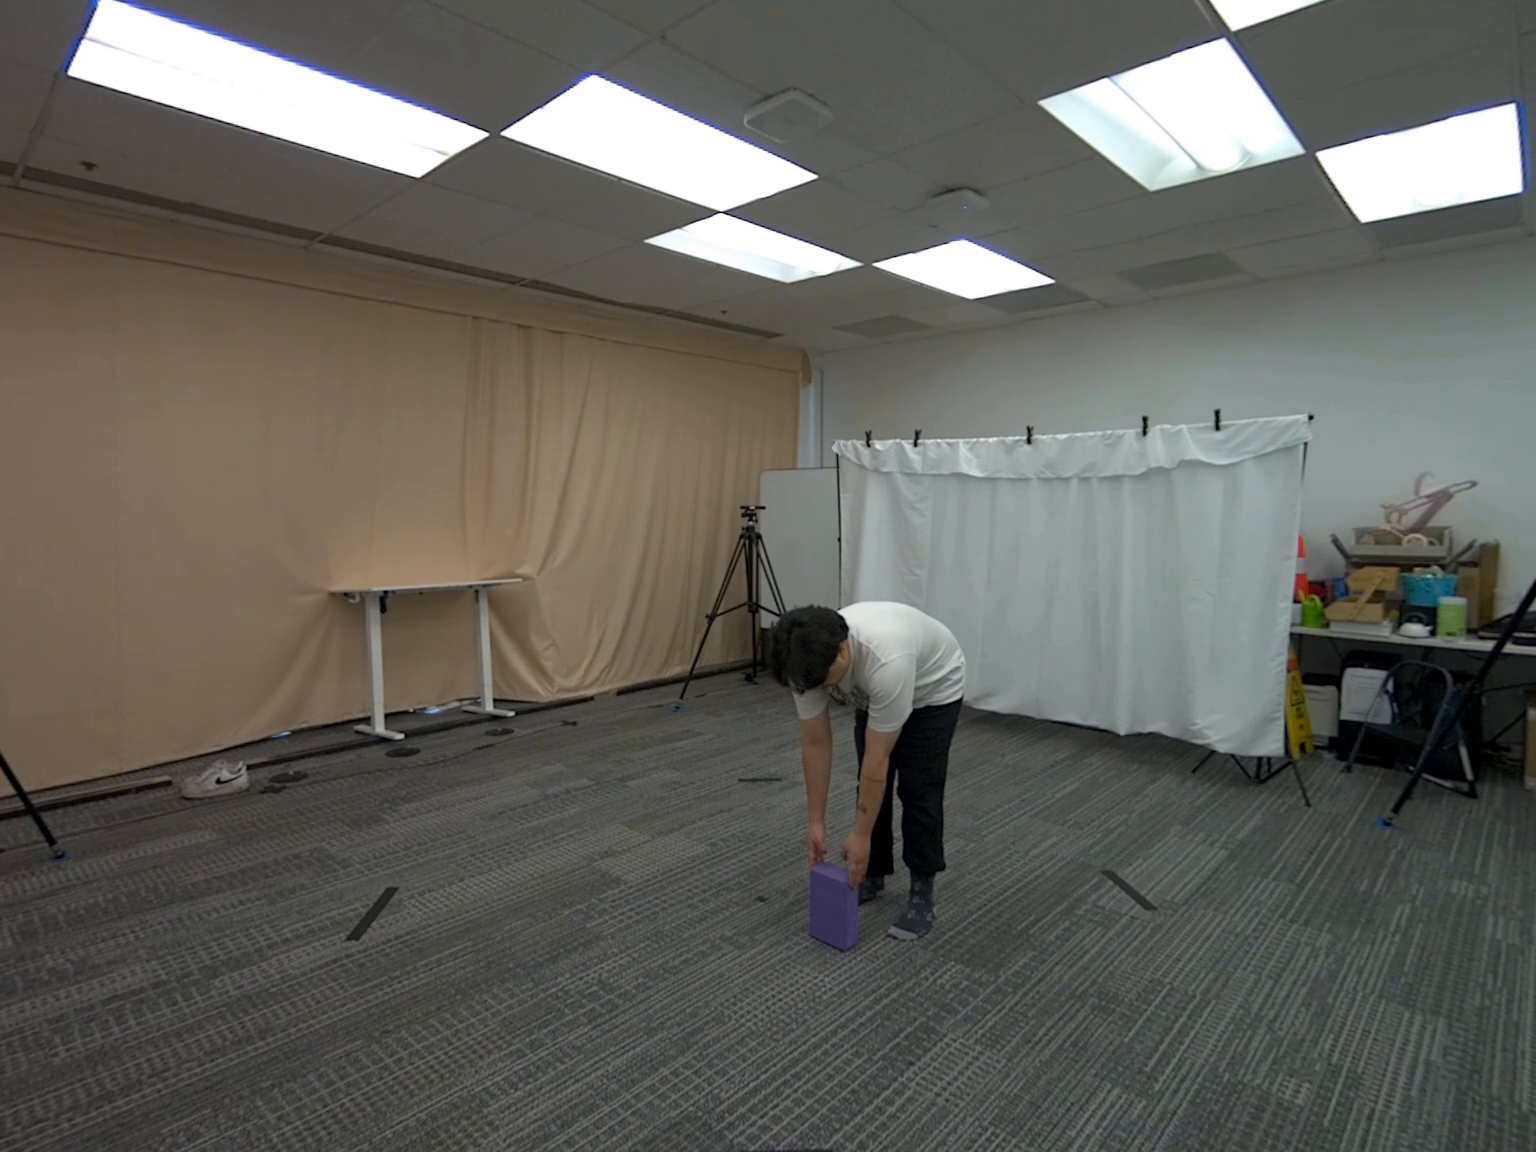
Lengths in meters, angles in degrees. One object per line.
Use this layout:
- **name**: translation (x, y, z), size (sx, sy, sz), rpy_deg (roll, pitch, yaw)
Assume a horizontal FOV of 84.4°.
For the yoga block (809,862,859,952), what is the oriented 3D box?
- **yoga block**: translation (0.219, 1.058, 2.687), size (0.154, 0.229, 0.074), rpy_deg (5, 3, 42)
